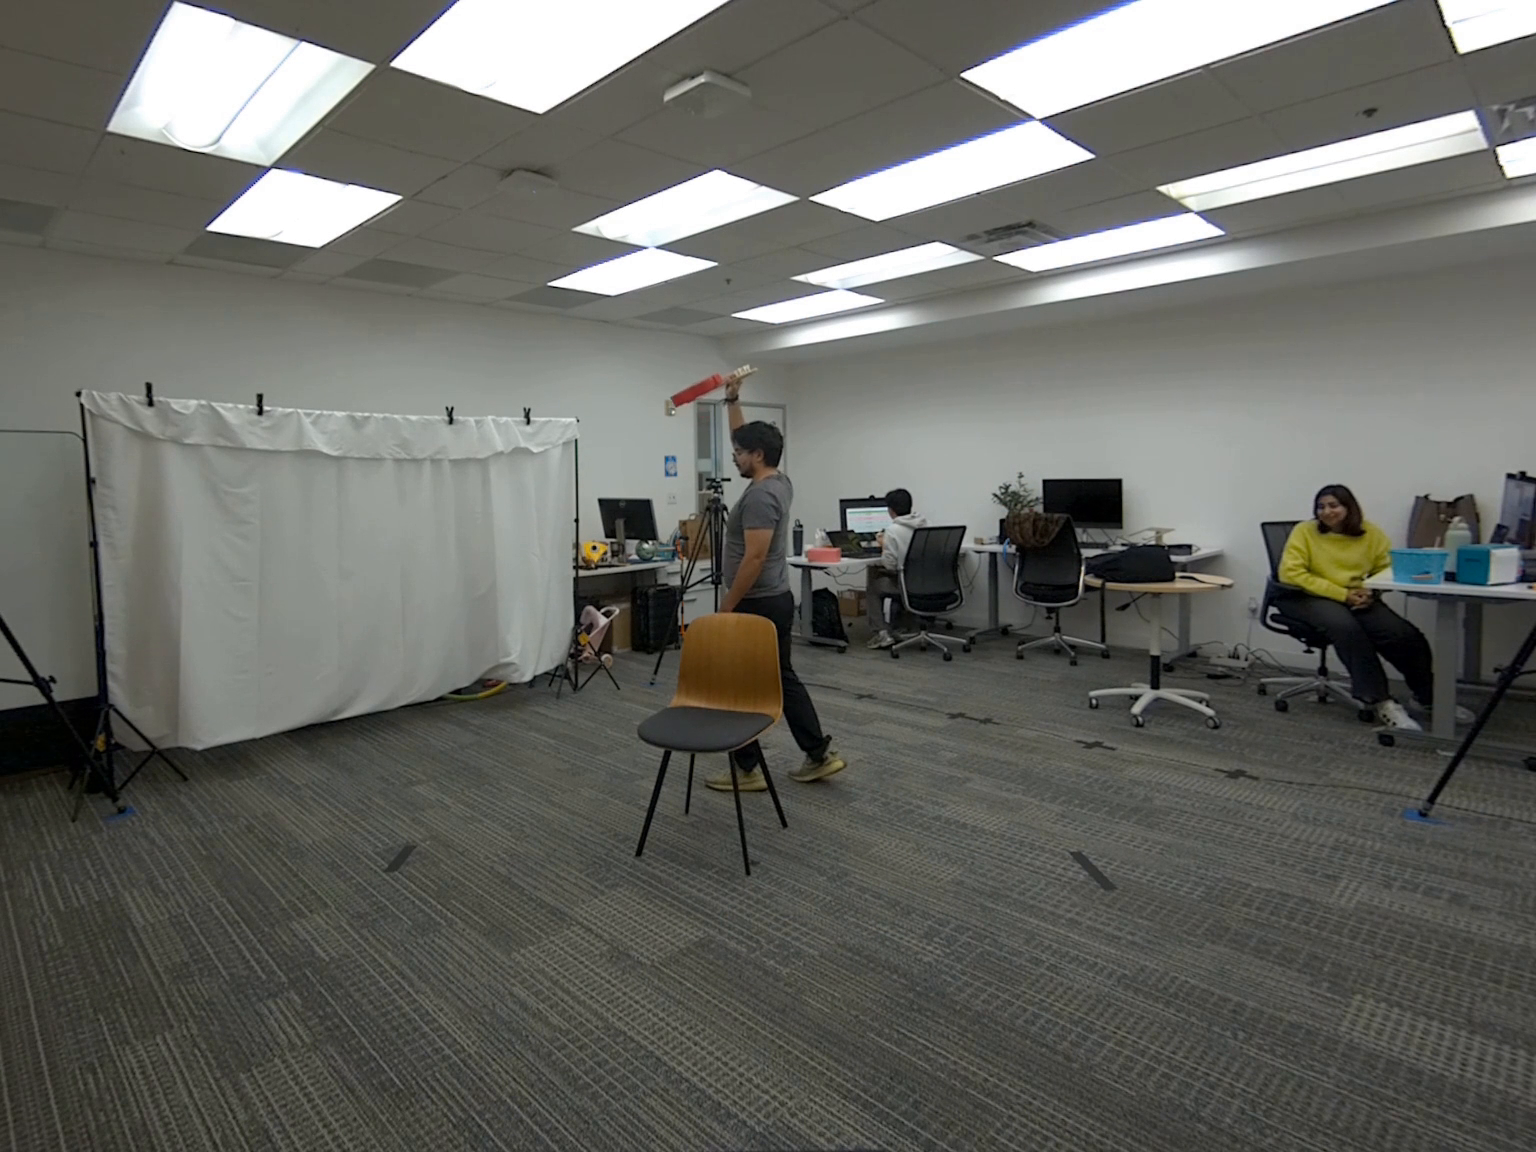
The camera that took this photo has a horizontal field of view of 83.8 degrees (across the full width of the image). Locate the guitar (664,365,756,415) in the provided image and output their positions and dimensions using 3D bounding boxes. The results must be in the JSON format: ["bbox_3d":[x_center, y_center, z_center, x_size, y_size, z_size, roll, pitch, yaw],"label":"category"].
[{"bbox_3d":[-0.237,-0.920,4.022,0.507,0.069,0.193,-16,18,35],"label":"guitar"}]
